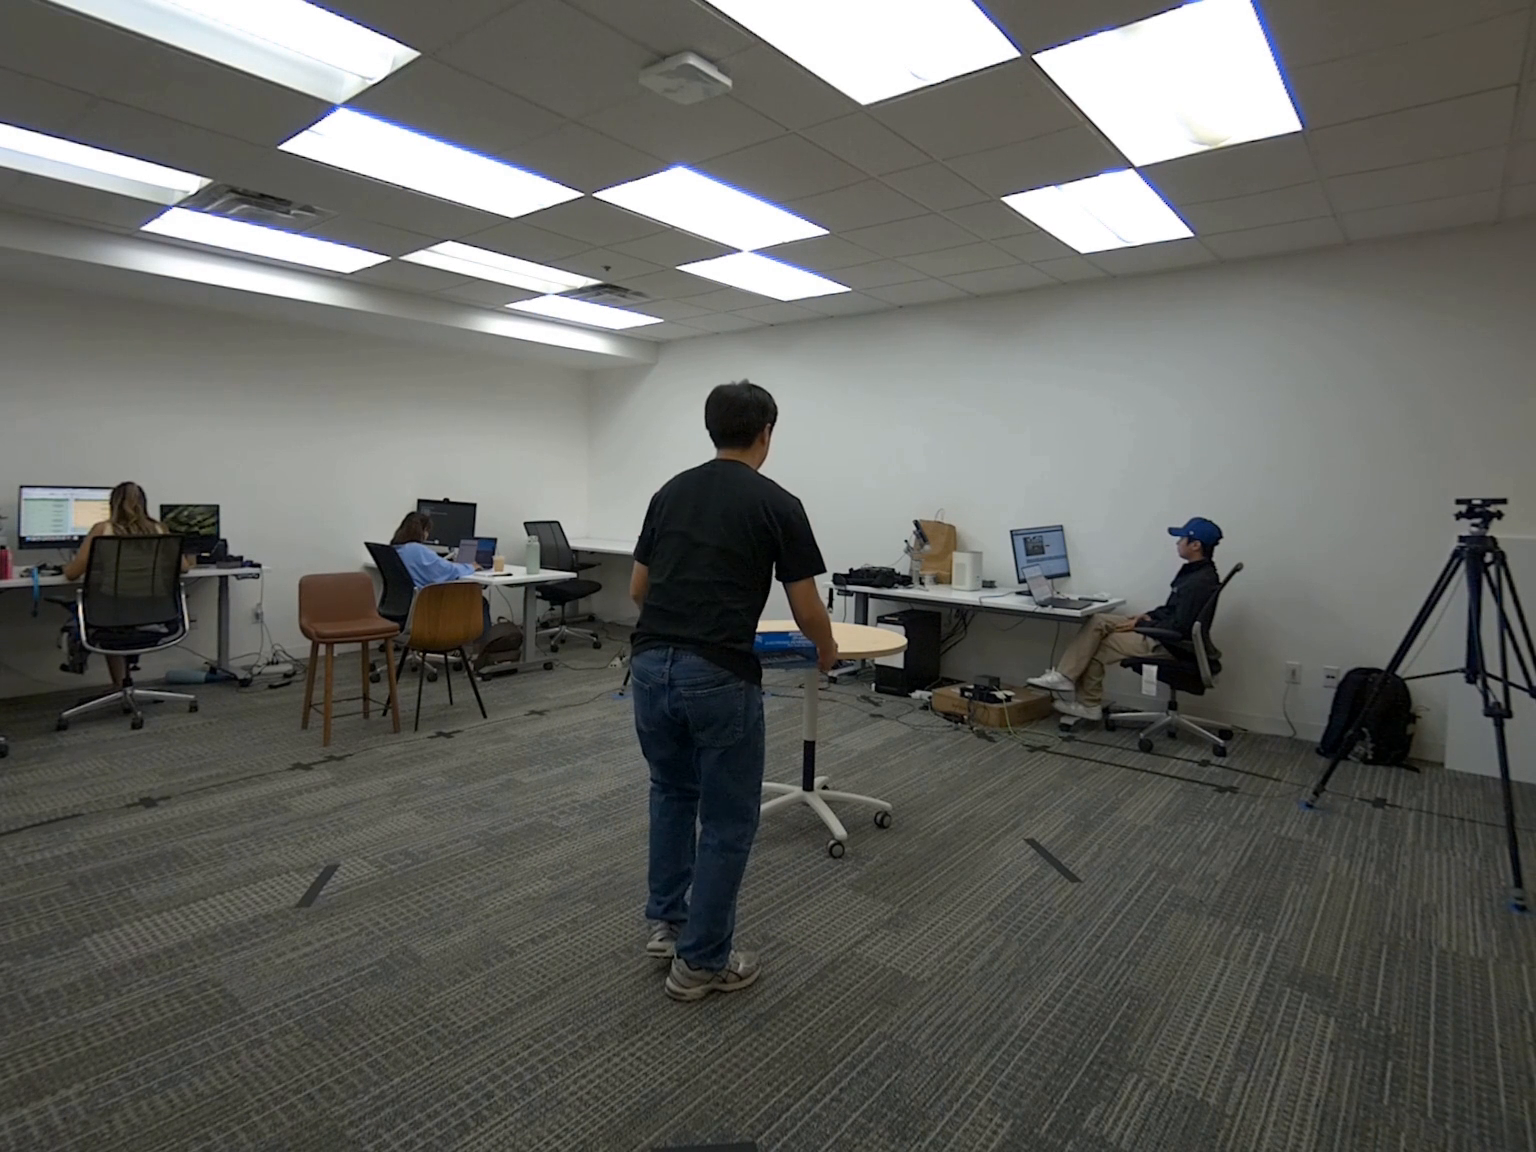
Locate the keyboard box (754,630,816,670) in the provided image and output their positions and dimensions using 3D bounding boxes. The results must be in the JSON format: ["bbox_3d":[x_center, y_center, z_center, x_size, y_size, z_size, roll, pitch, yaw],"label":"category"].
[{"bbox_3d":[-0.056,0.252,2.759,0.444,0.060,0.169,-3,-29,16],"label":"keyboard box"}]
